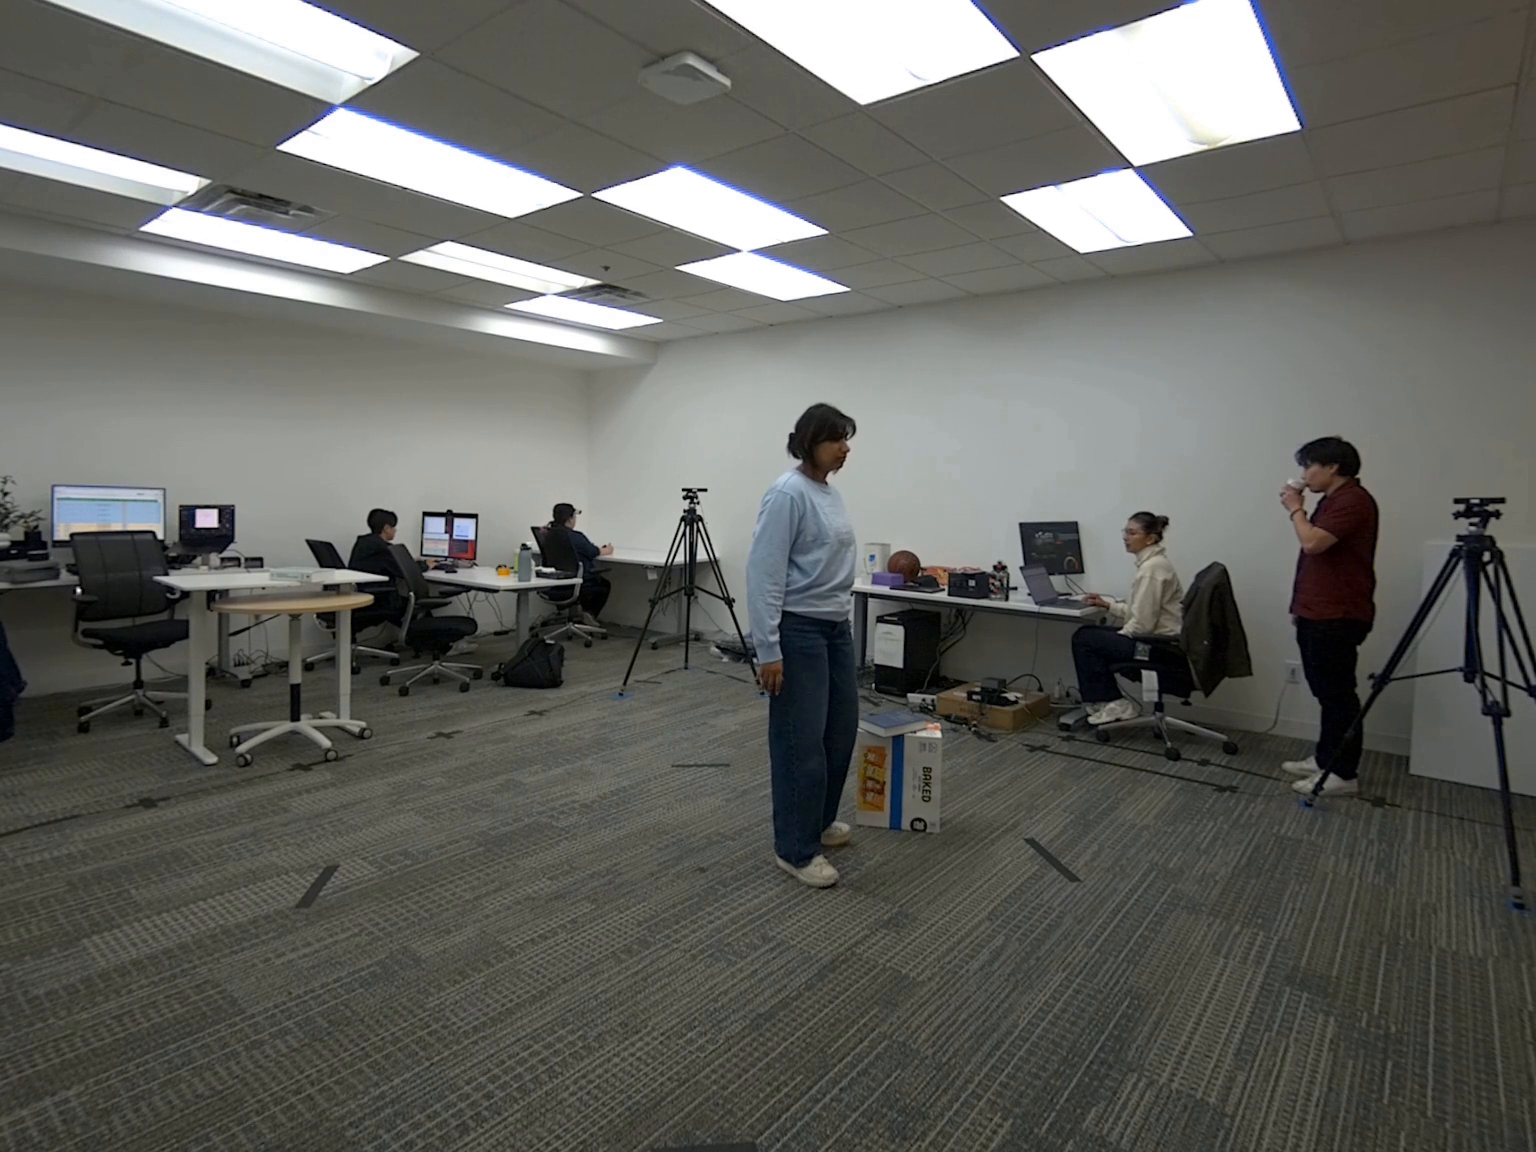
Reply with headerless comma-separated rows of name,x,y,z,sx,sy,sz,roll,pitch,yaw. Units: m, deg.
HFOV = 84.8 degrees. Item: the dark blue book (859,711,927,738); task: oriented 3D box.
dark blue book,0.529,0.617,3.577,0.238,0.045,0.169,-4,9,-34
